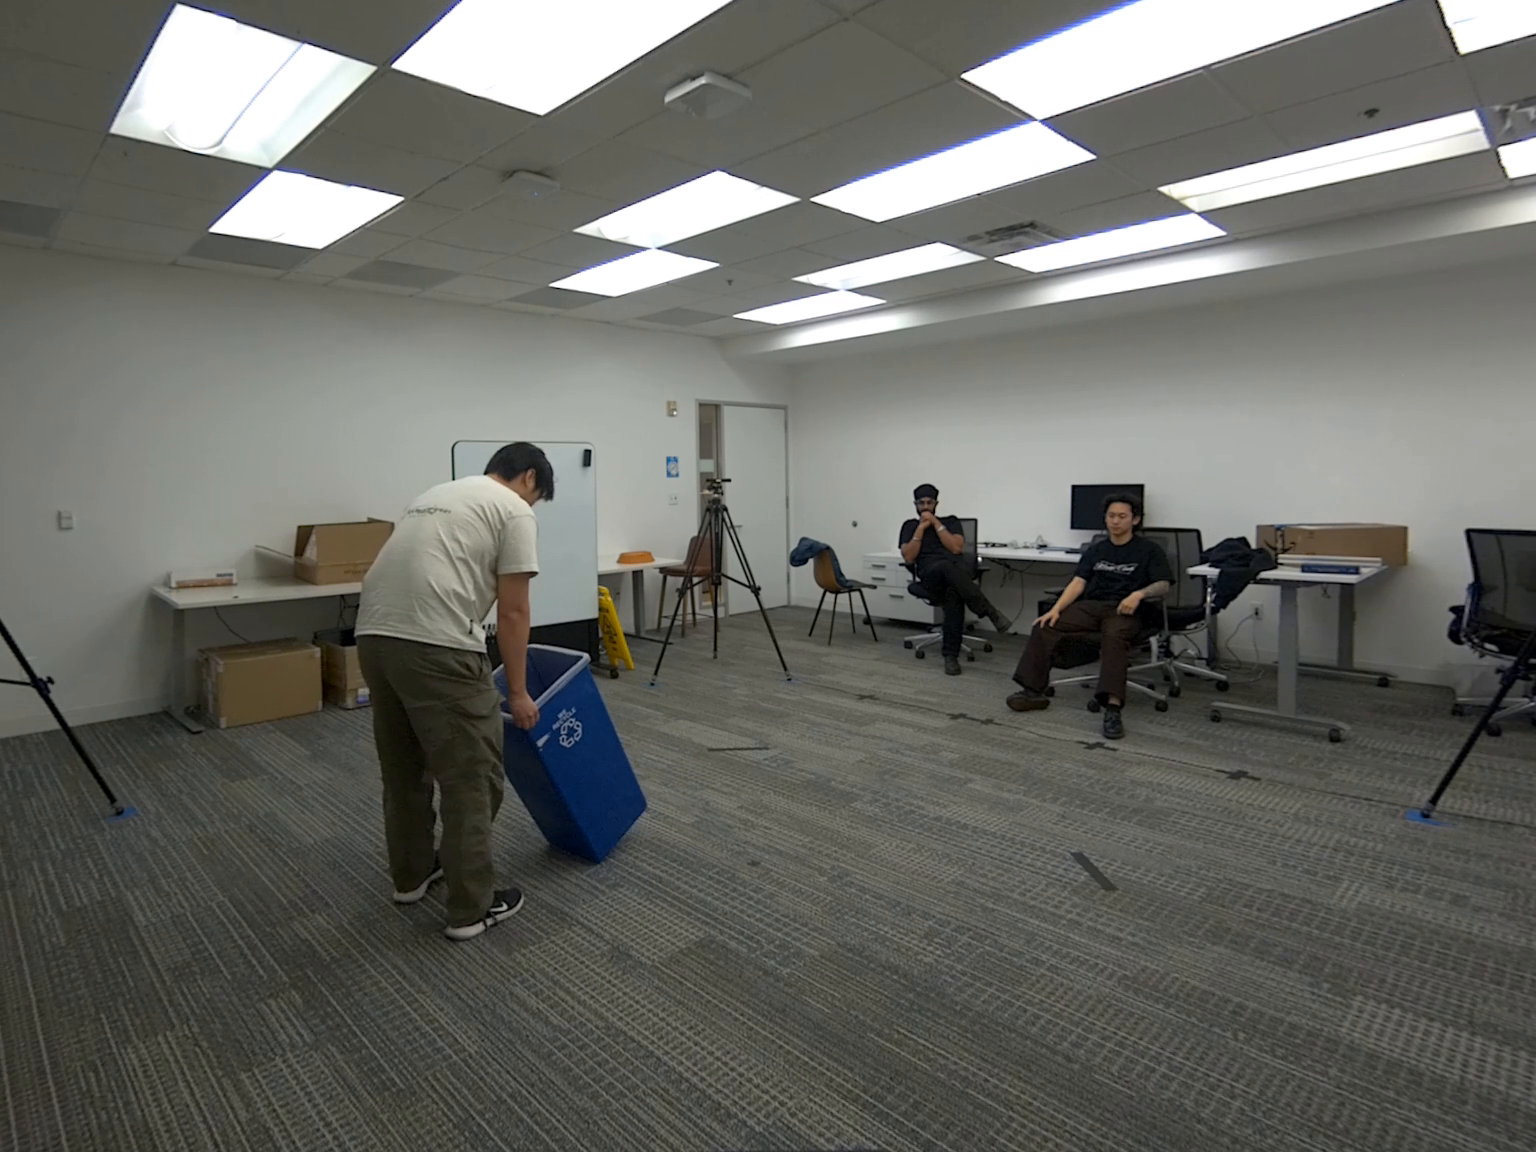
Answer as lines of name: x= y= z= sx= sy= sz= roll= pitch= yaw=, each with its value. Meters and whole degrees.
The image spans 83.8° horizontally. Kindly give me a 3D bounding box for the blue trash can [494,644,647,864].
blue trash can: x=-0.760 y=0.661 z=3.167 sx=0.389 sy=0.694 sz=0.373 roll=3 pitch=33 yaw=39
